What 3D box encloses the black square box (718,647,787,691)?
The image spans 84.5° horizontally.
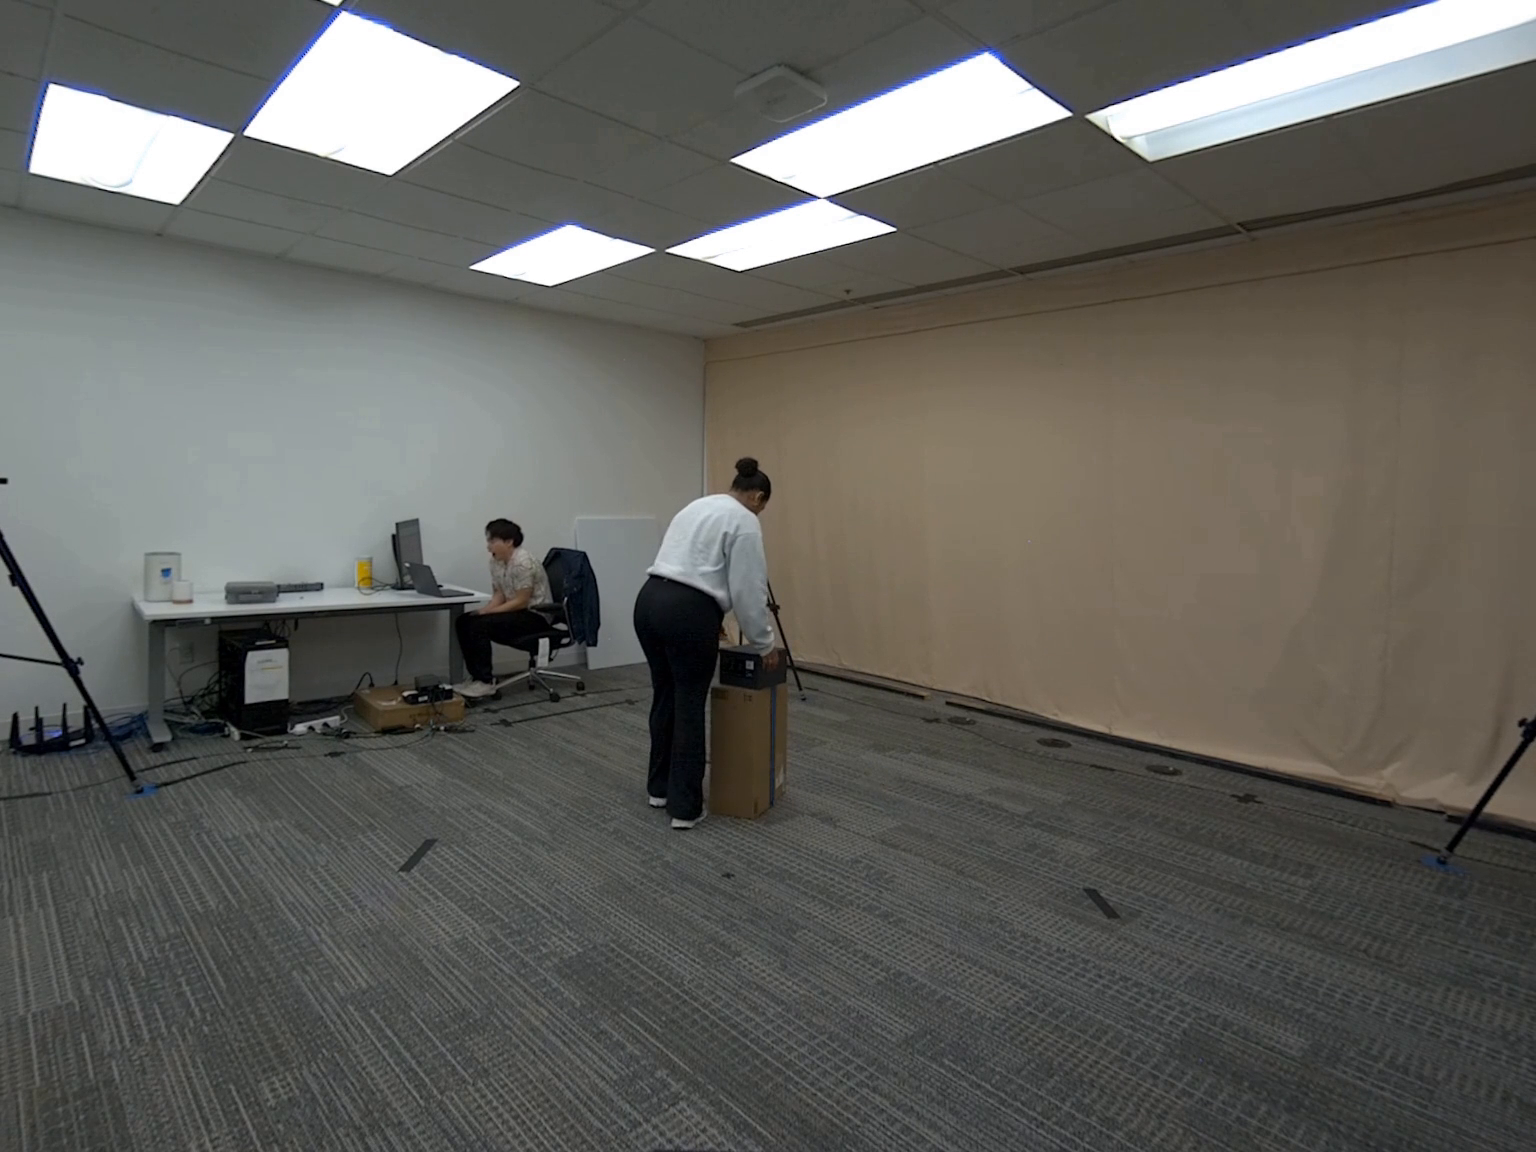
[{"bbox_3d":[-0.078,0.400,3.789,0.222,0.155,0.223,3,4,36],"label":"black square box"}]
